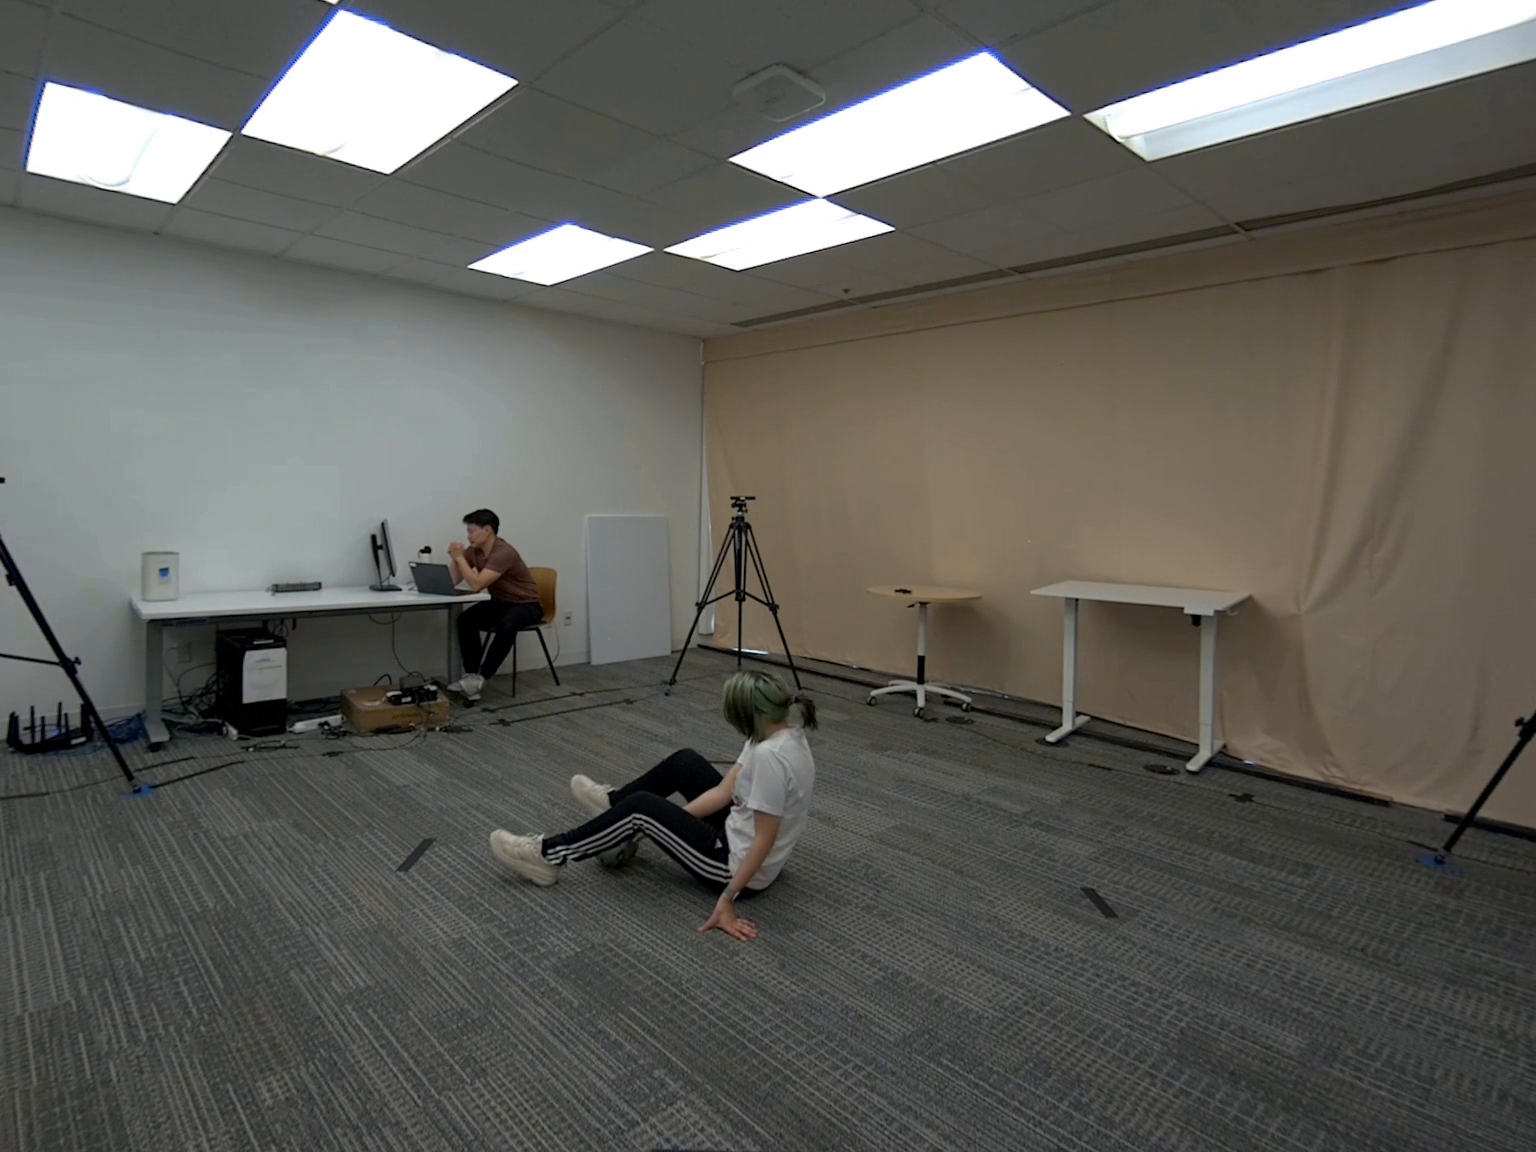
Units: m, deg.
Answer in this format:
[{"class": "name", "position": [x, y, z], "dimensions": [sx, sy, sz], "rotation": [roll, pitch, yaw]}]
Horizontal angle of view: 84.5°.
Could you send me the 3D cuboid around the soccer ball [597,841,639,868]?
[{"class": "soccer ball", "position": [-0.574, 0.995, 3.168], "dimensions": [0.187, 0.187, 0.188], "rotation": [1, 4, -1]}]
